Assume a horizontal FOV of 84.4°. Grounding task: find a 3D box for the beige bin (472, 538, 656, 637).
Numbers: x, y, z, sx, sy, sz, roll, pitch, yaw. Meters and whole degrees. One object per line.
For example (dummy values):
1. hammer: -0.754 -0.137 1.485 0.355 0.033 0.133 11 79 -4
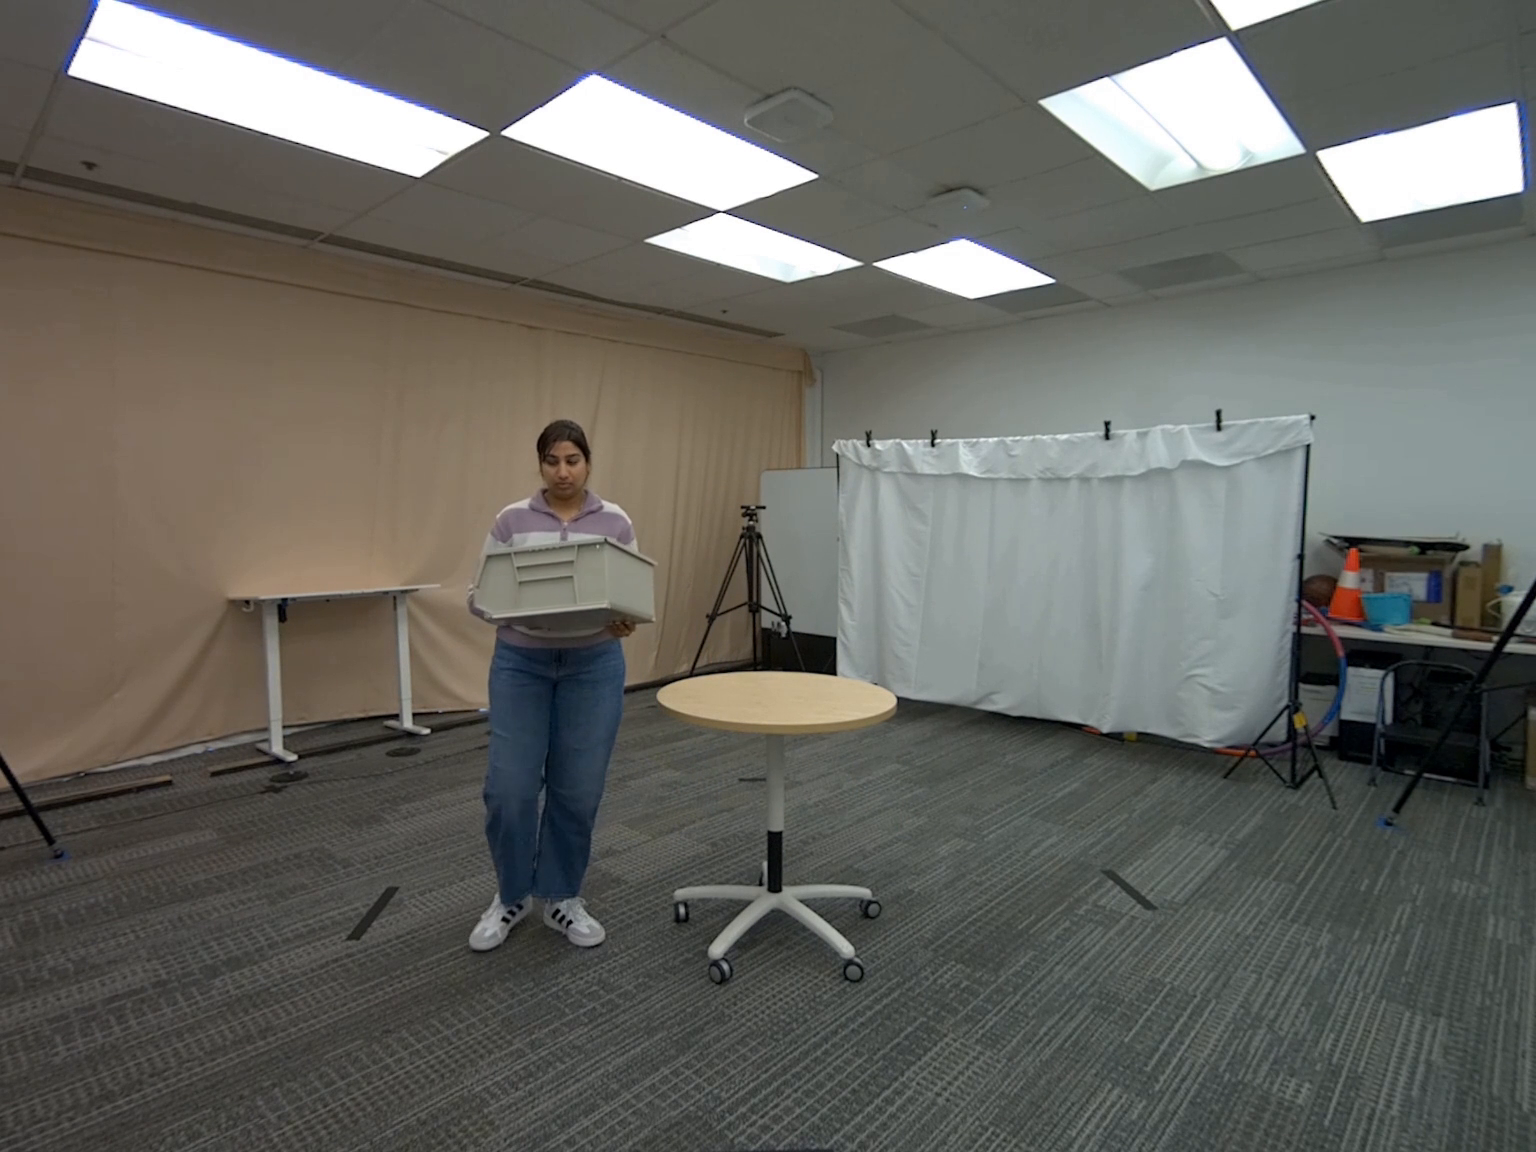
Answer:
1. beige bin: -0.546 0.039 2.337 0.382 0.190 0.414 -5 -11 11
